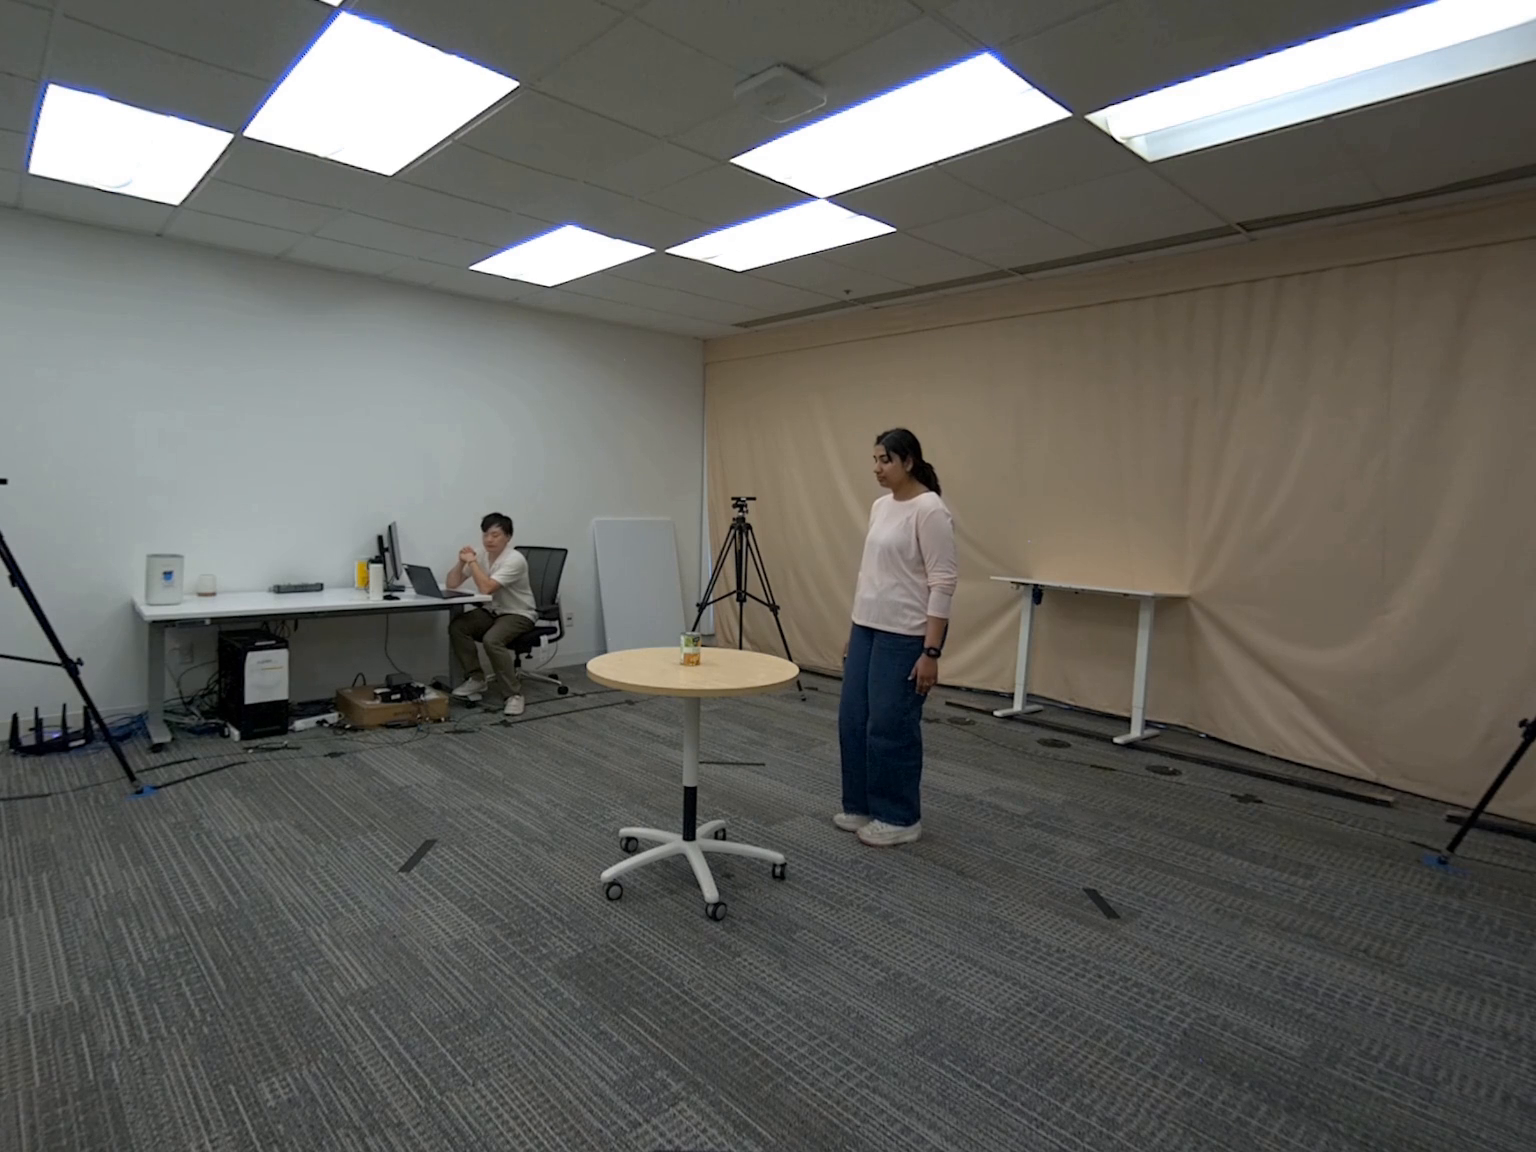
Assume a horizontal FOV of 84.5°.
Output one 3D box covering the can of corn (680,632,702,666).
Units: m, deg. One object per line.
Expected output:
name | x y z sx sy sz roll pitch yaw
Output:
can of corn | -0.289 0.269 3.068 0.074 0.111 0.074 1 4 -1
